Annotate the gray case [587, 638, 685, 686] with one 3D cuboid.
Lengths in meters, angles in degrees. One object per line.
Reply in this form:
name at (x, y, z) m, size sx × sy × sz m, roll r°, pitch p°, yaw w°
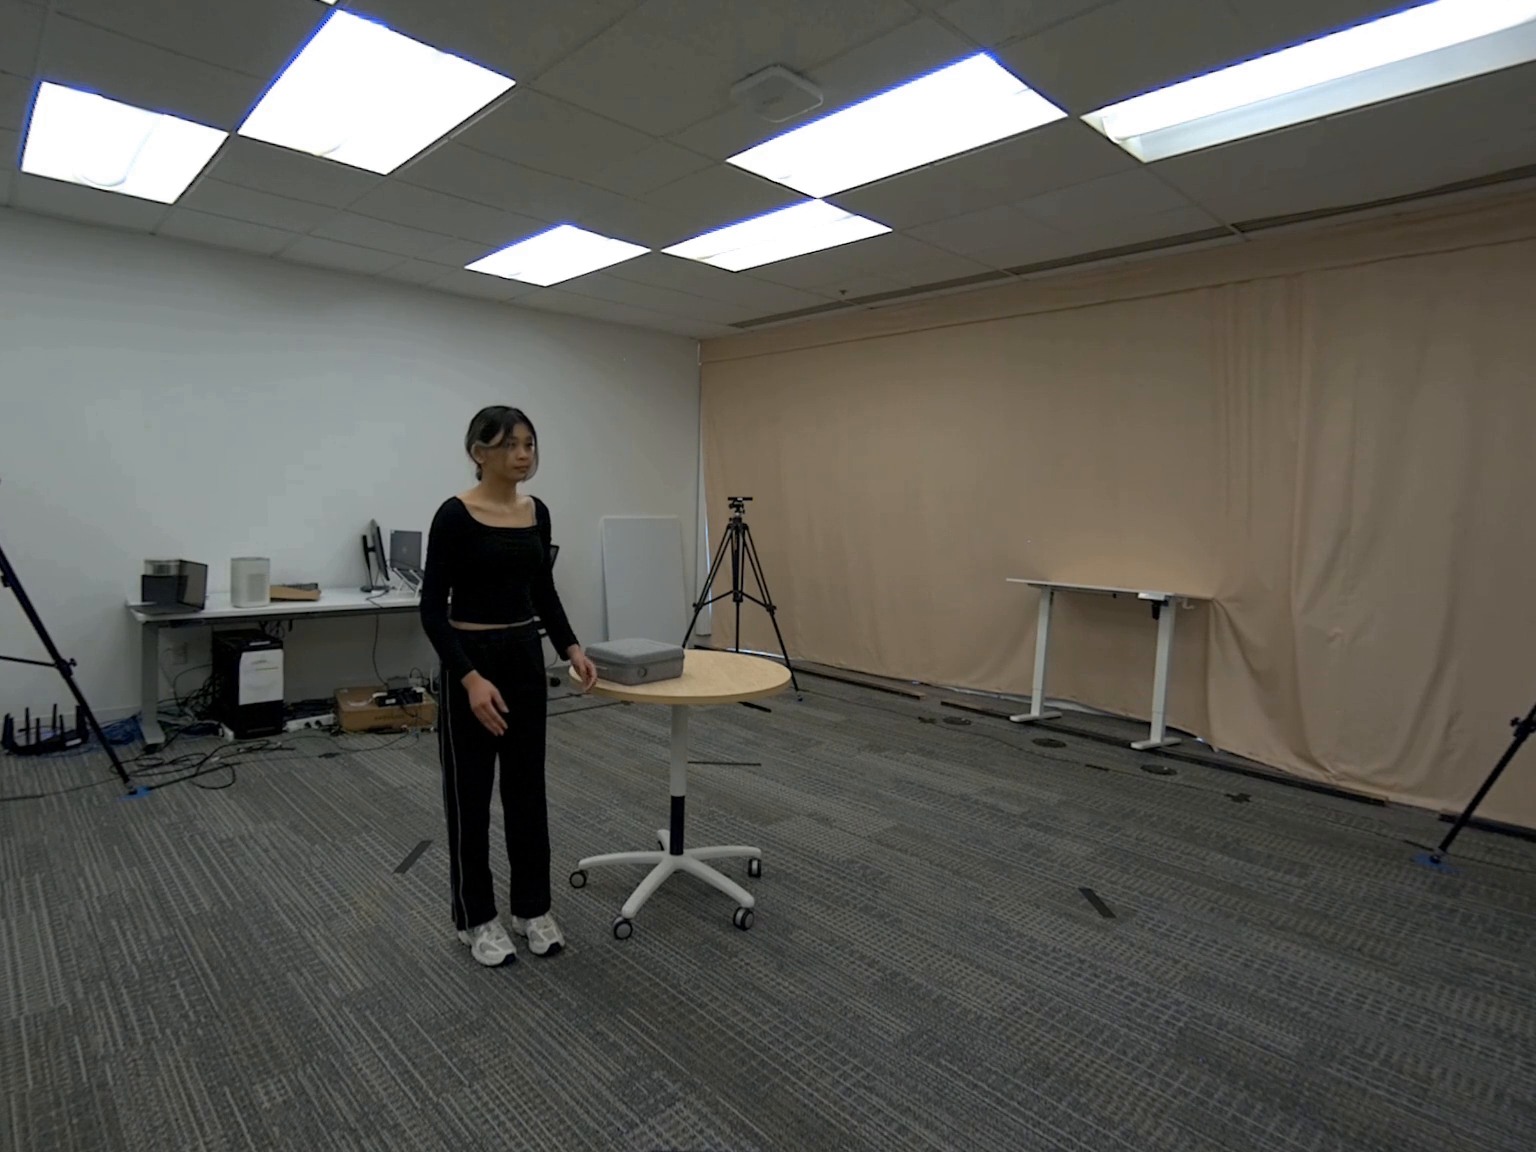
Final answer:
gray case at (-0.455, 0.276, 2.808) m, size 0.264 × 0.104 × 0.255 m, roll 8°, pitch 10°, yaw 43°
